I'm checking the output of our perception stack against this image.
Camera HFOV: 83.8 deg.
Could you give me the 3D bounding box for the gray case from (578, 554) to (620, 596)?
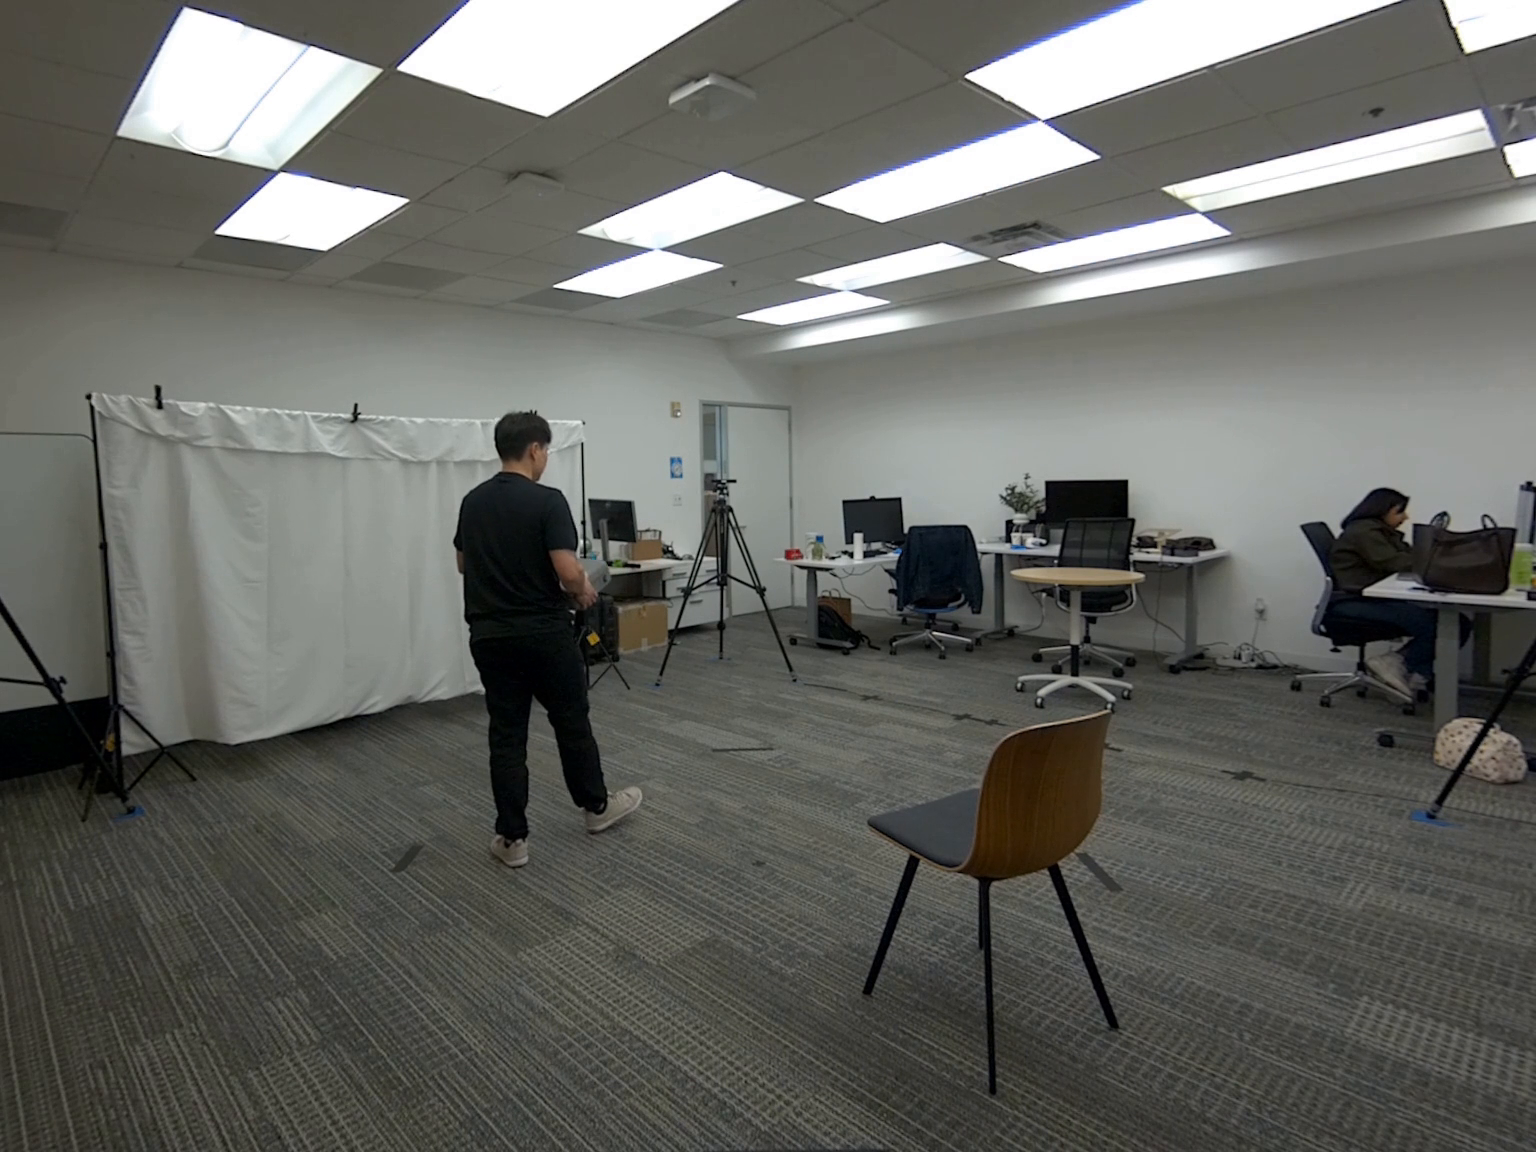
[{"bbox_3d":[-0.797,0.019,3.478,0.264,0.102,0.260,3,30,33],"label":"gray case"}]
